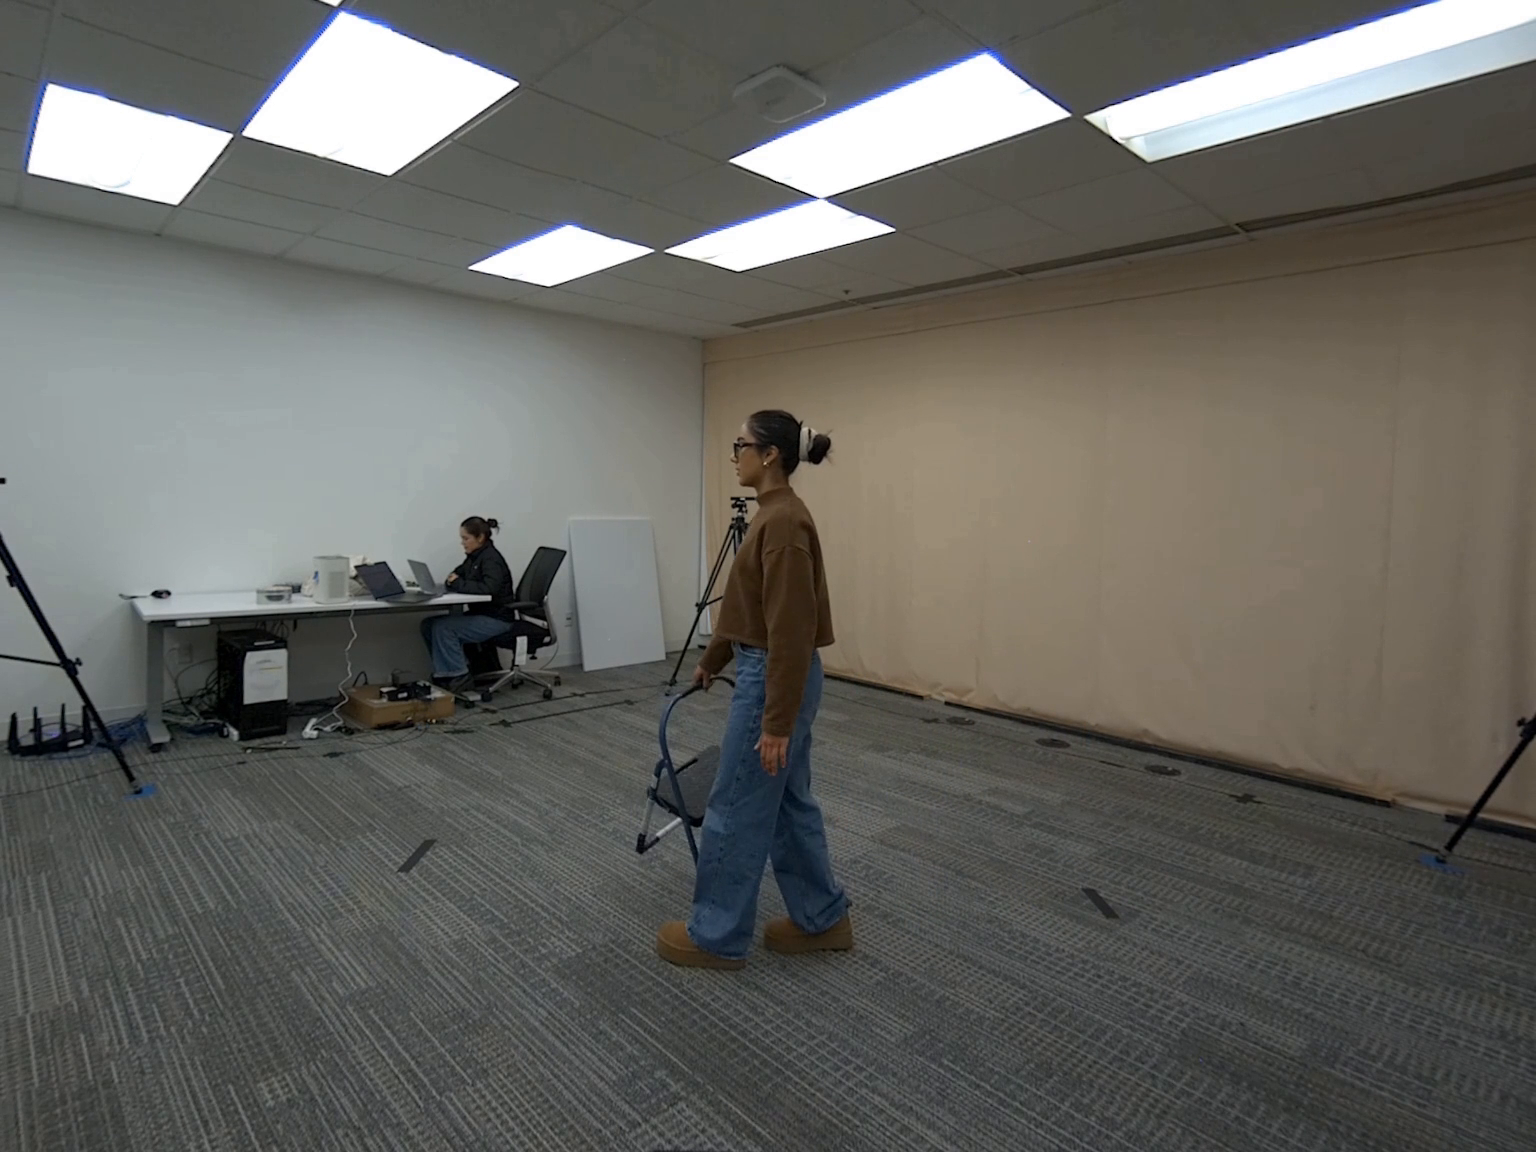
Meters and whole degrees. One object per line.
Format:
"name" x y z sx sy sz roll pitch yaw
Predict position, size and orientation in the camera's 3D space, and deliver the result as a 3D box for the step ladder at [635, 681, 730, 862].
"step ladder" -0.191 0.661 2.838 0.359 0.598 0.425 17 25 35
